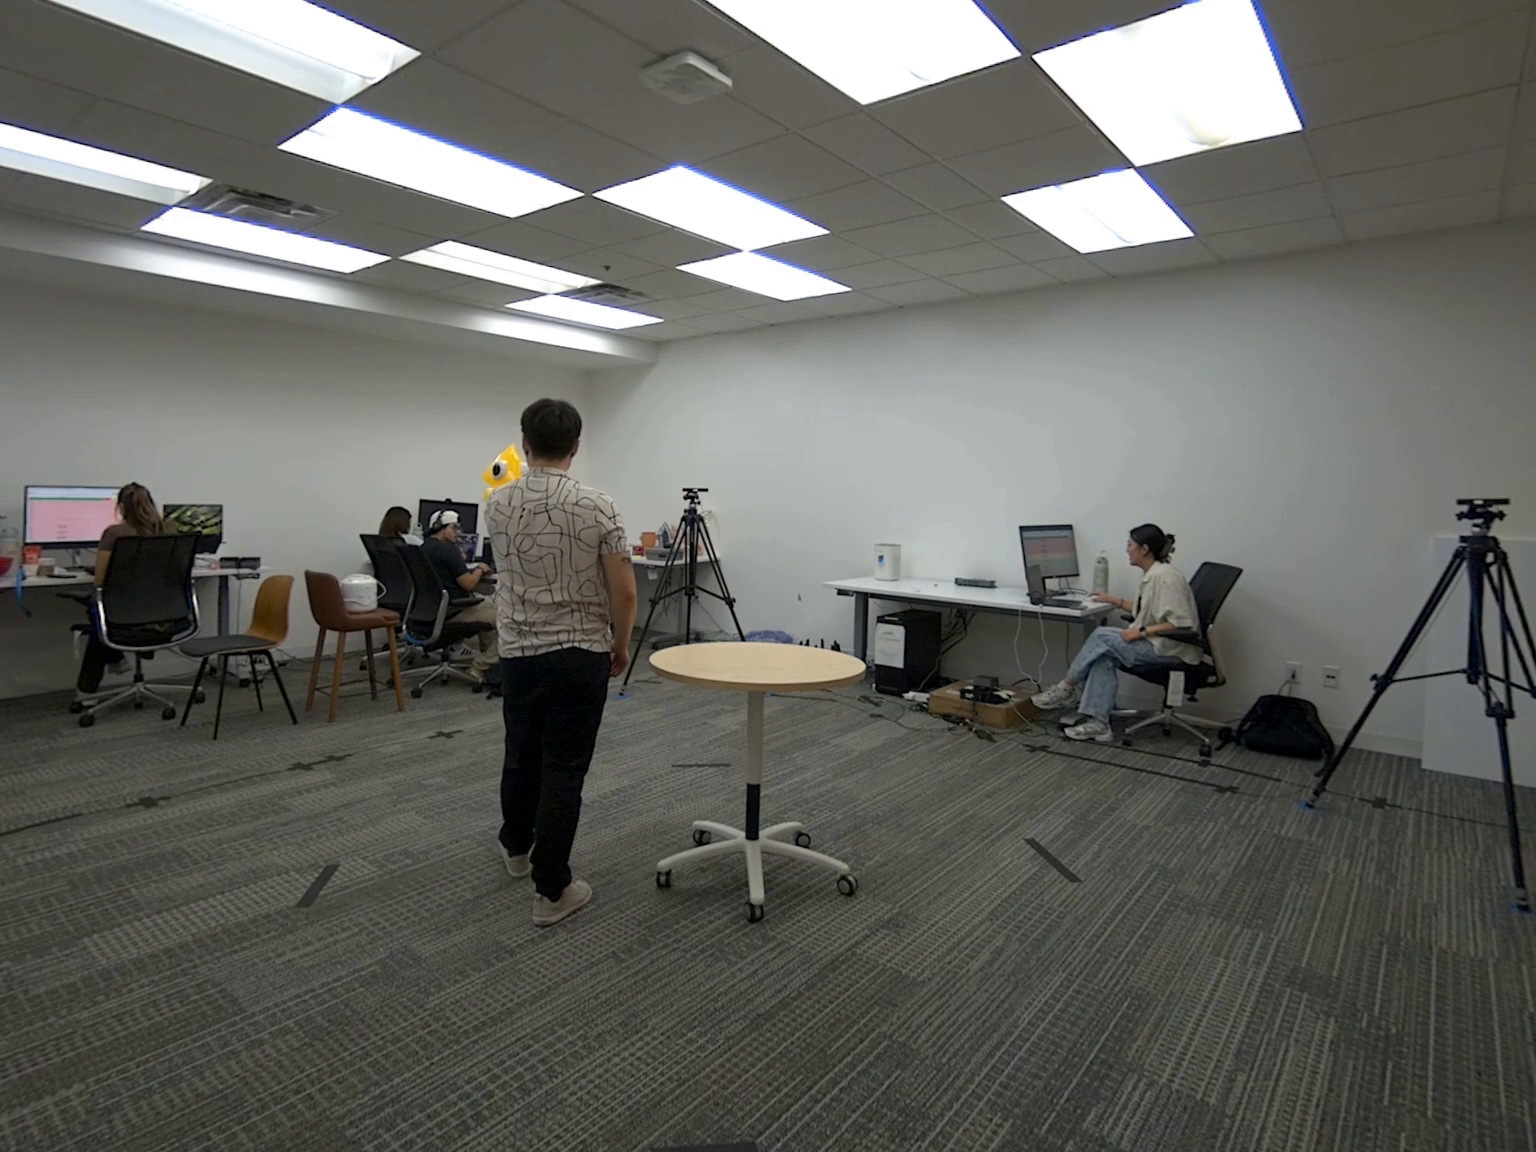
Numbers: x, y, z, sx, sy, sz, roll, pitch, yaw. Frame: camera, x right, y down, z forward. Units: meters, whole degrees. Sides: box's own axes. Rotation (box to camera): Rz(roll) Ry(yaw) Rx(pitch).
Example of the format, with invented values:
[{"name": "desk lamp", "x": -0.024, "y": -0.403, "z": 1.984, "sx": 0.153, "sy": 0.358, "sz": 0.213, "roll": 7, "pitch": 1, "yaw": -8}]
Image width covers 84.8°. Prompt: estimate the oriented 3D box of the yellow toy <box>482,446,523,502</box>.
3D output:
[{"name": "yellow toy", "x": -1.023, "y": -0.399, "z": 3.345, "sx": 0.199, "sy": 0.229, "sz": 0.200, "roll": 4, "pitch": 9, "yaw": -28}]
